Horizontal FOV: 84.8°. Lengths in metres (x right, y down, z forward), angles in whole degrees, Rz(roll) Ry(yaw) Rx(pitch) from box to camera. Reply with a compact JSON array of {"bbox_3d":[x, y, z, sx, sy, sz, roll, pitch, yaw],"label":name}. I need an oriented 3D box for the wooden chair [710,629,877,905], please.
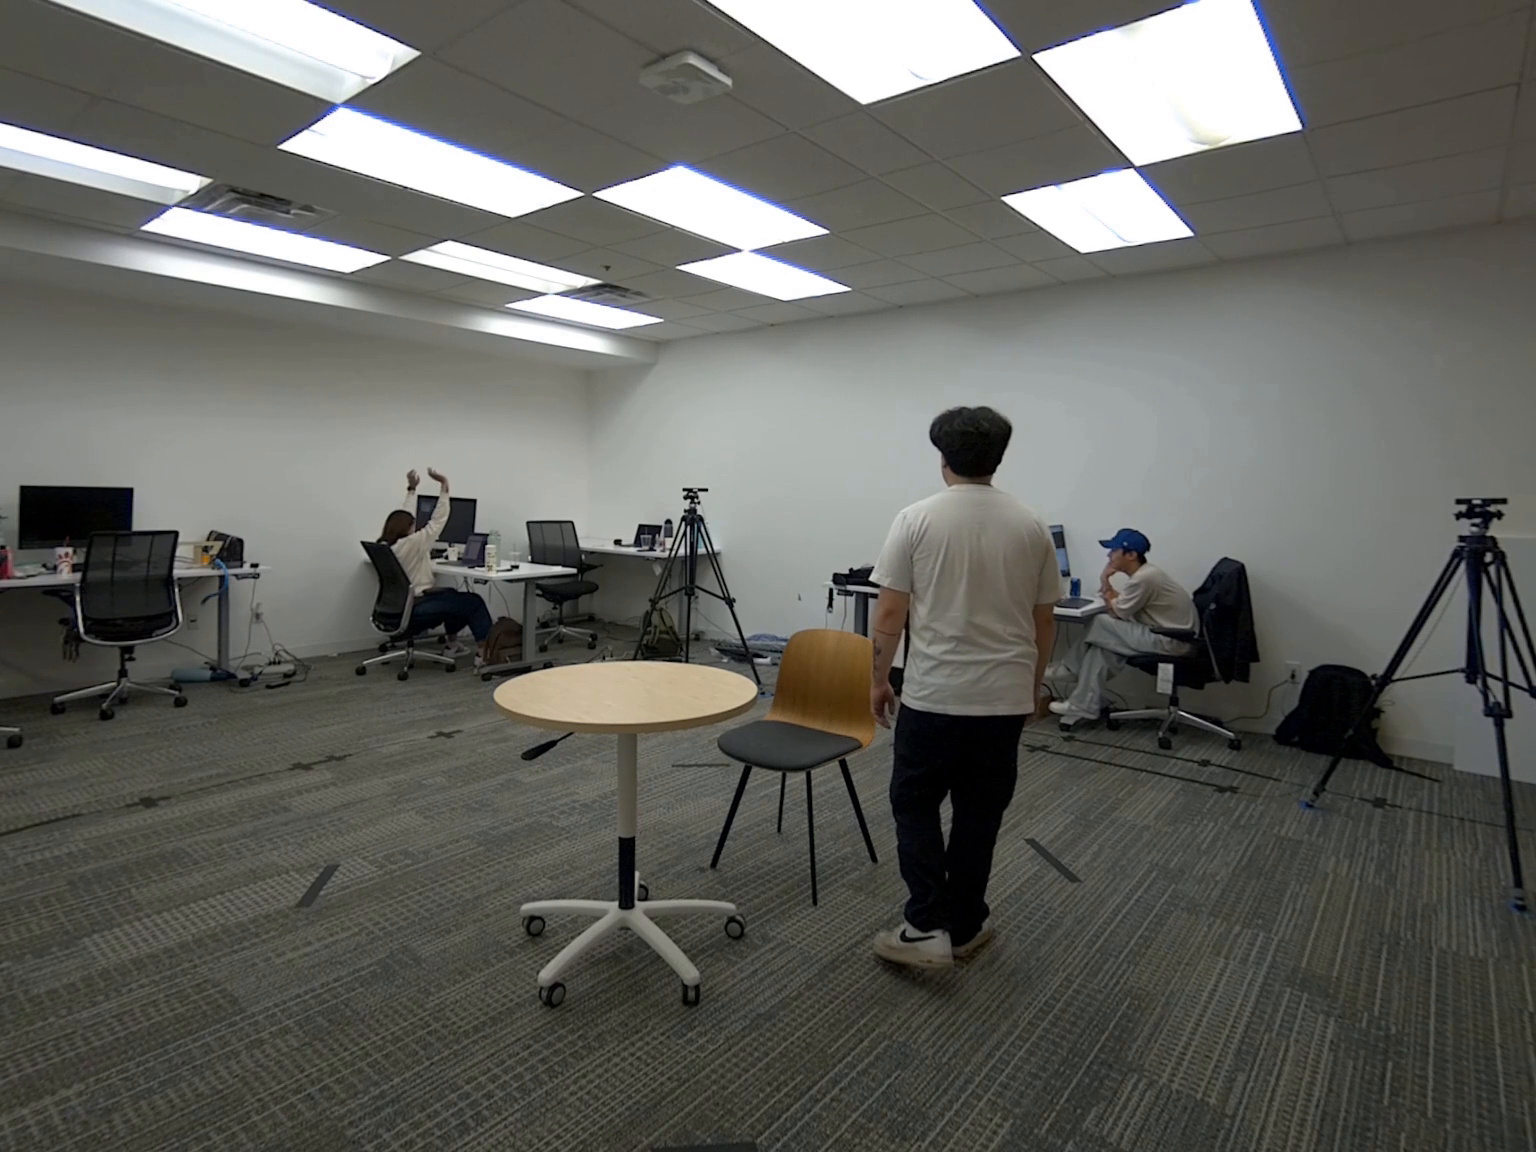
[{"bbox_3d":[0.098,0.646,3.130,0.494,0.878,0.506,4,0,36],"label":"wooden chair"}]
